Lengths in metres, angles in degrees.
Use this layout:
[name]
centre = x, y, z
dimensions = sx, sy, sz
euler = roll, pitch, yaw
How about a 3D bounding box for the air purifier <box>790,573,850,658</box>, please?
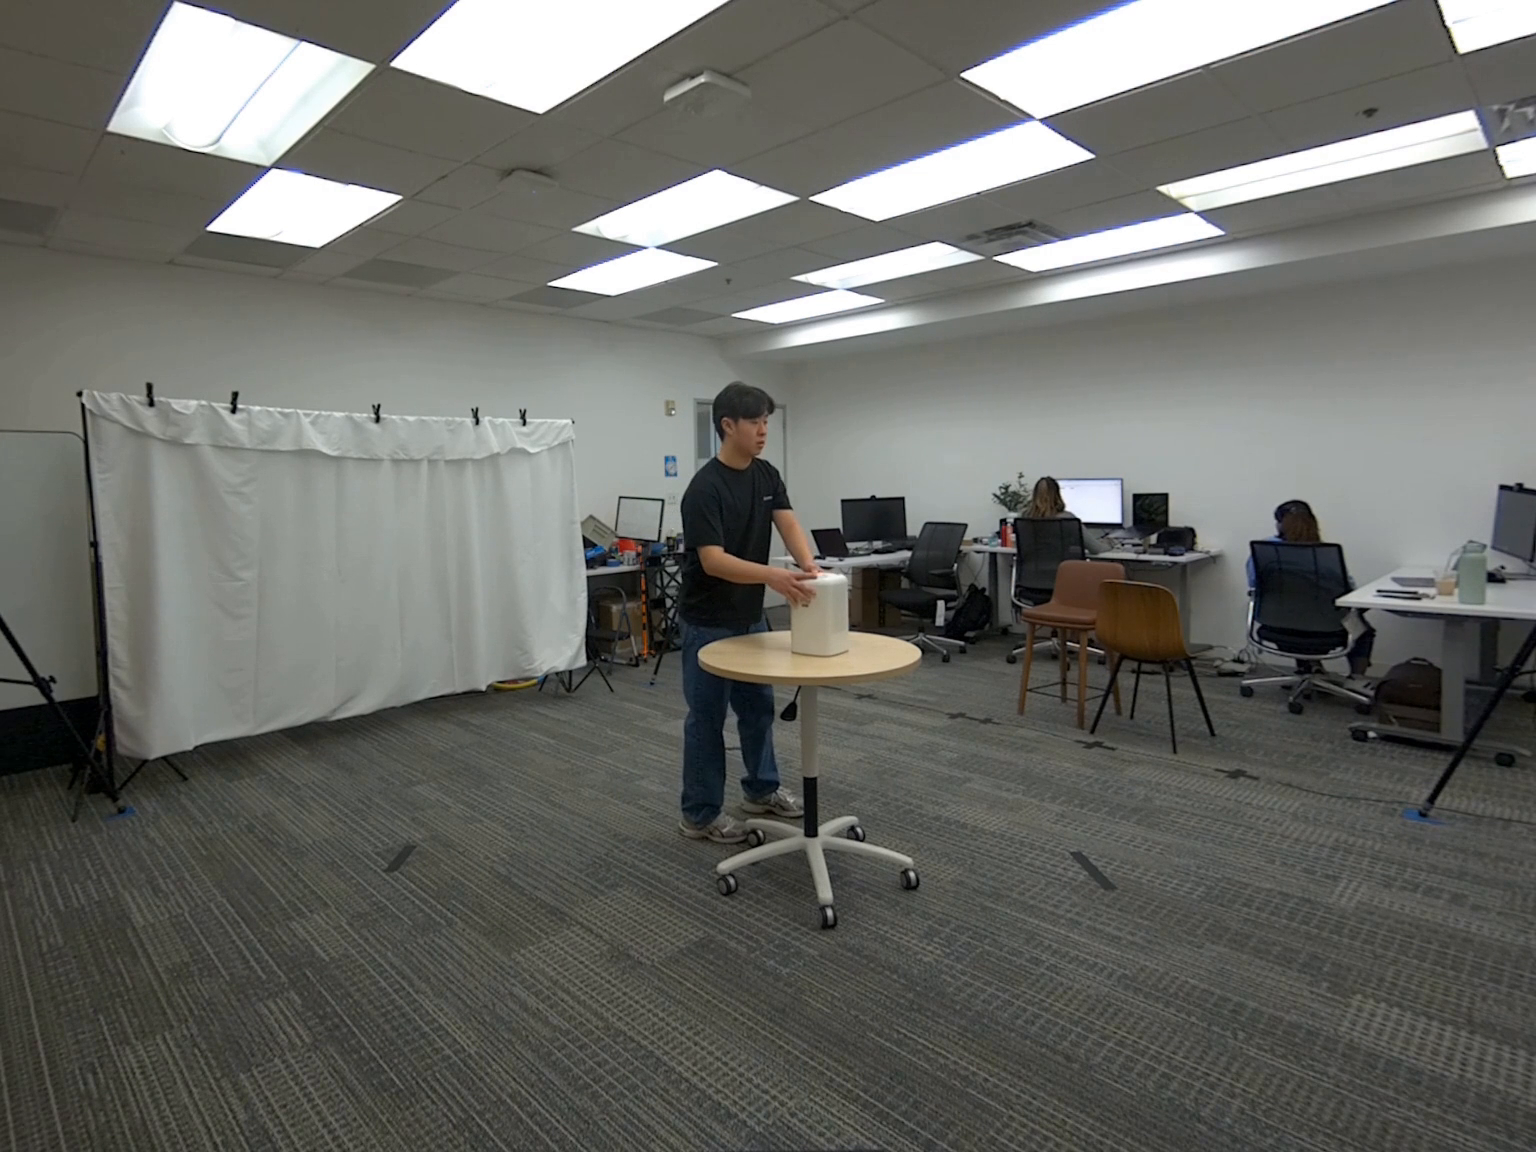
[air purifier]
centre = 0.181, 0.129, 2.940
dimensions = 0.176, 0.264, 0.167
euler = 2, 6, 35
